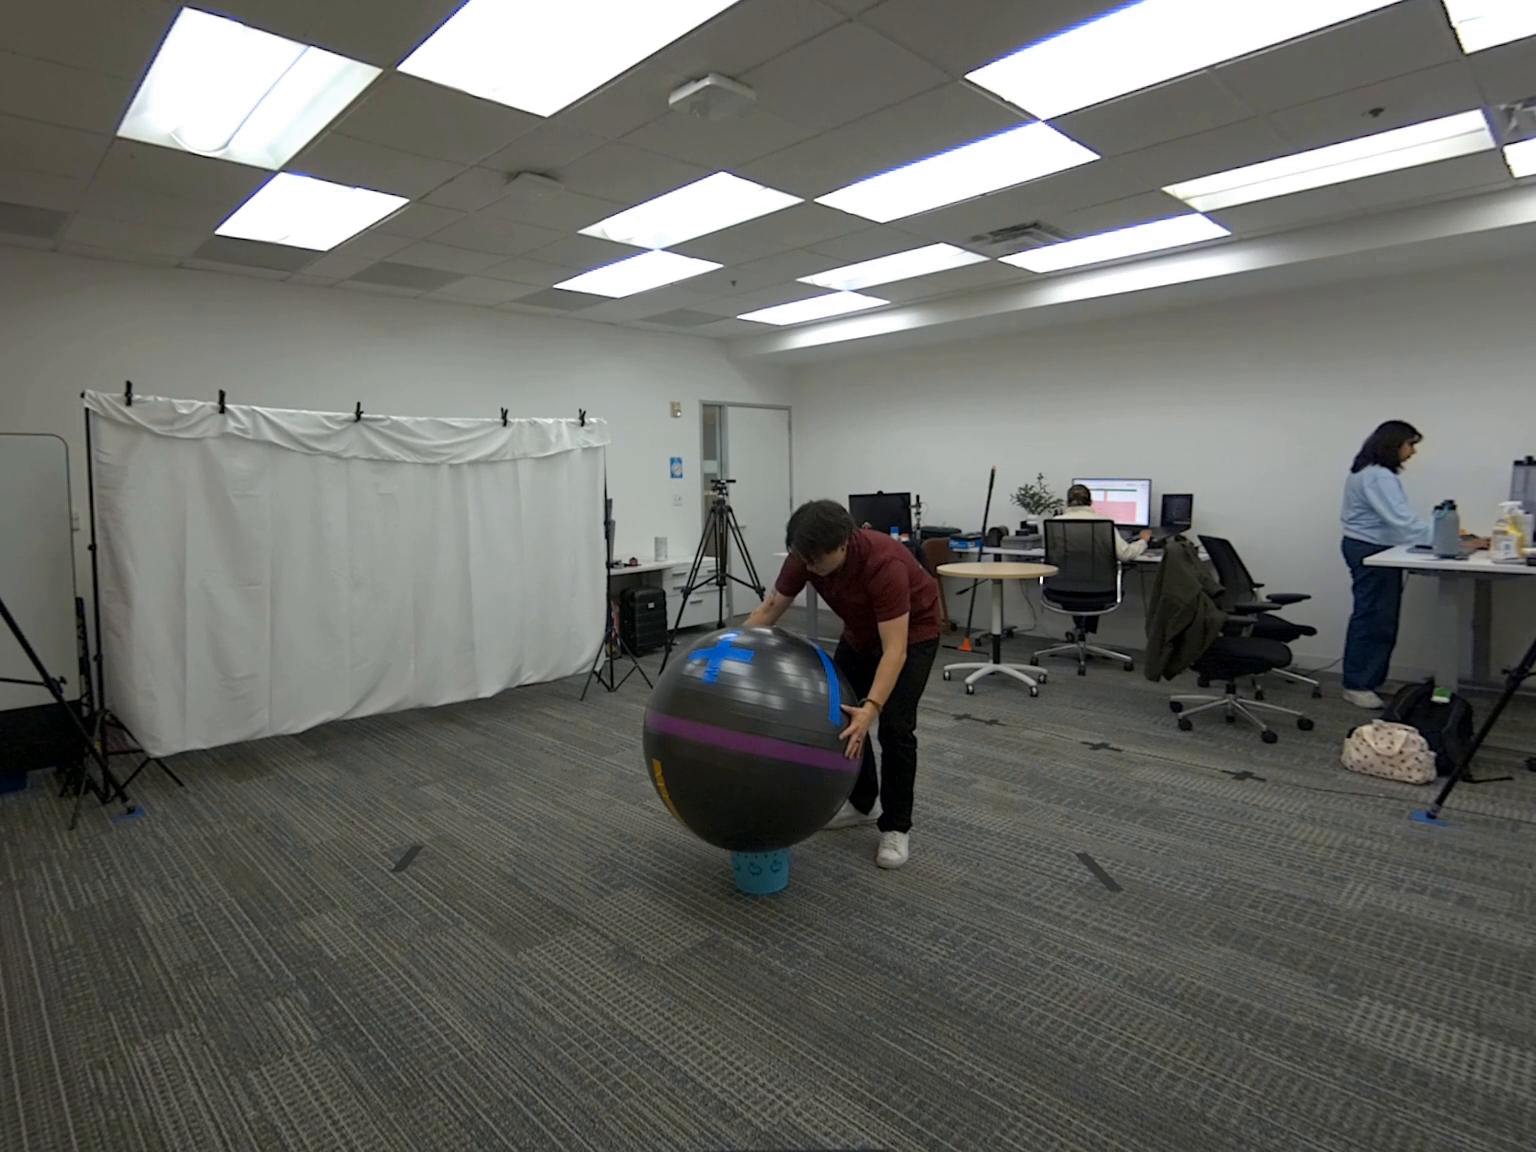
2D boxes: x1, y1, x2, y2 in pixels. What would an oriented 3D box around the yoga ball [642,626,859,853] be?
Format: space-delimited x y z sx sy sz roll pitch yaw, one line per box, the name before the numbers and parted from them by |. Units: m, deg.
yoga ball | -0.053 0.555 2.950 0.757 0.755 0.762 -1 5 -2
